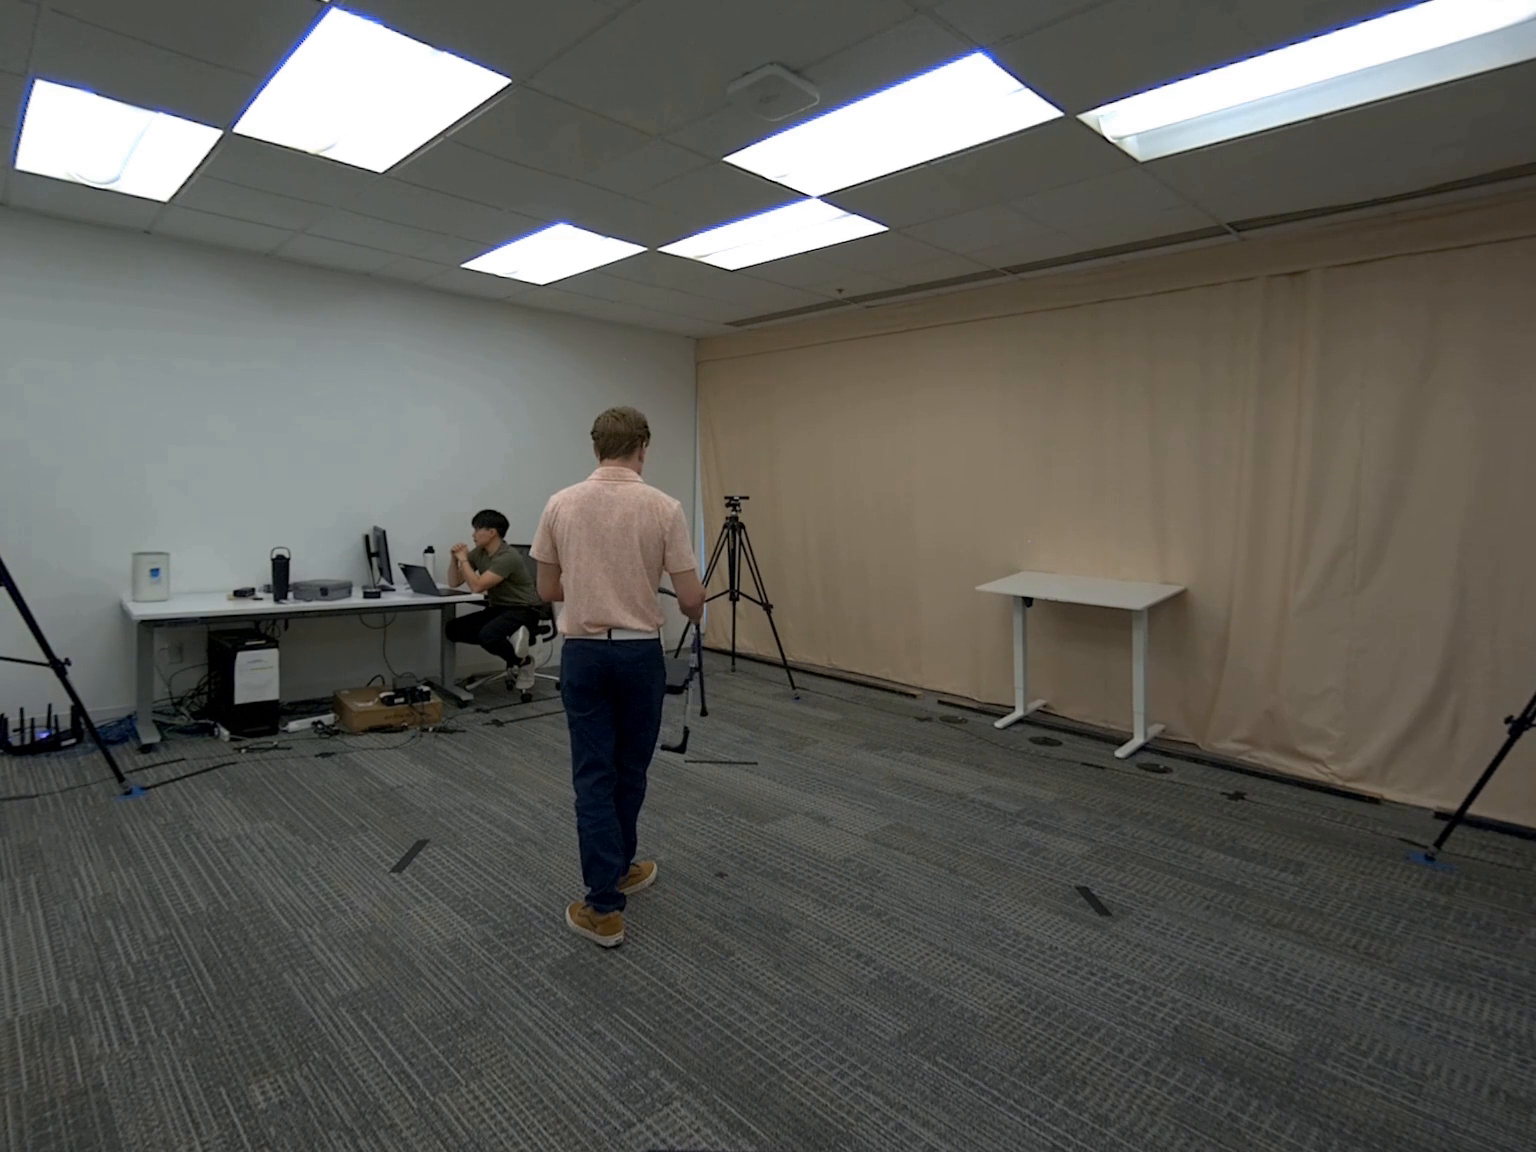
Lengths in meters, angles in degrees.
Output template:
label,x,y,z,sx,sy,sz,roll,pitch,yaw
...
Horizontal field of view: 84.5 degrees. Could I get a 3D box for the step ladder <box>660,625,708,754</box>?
label,x,y,z,sx,sy,sz,roll,pitch,yaw
step ladder,-0.467,0.305,3.185,0.434,0.599,0.350,7,17,9
